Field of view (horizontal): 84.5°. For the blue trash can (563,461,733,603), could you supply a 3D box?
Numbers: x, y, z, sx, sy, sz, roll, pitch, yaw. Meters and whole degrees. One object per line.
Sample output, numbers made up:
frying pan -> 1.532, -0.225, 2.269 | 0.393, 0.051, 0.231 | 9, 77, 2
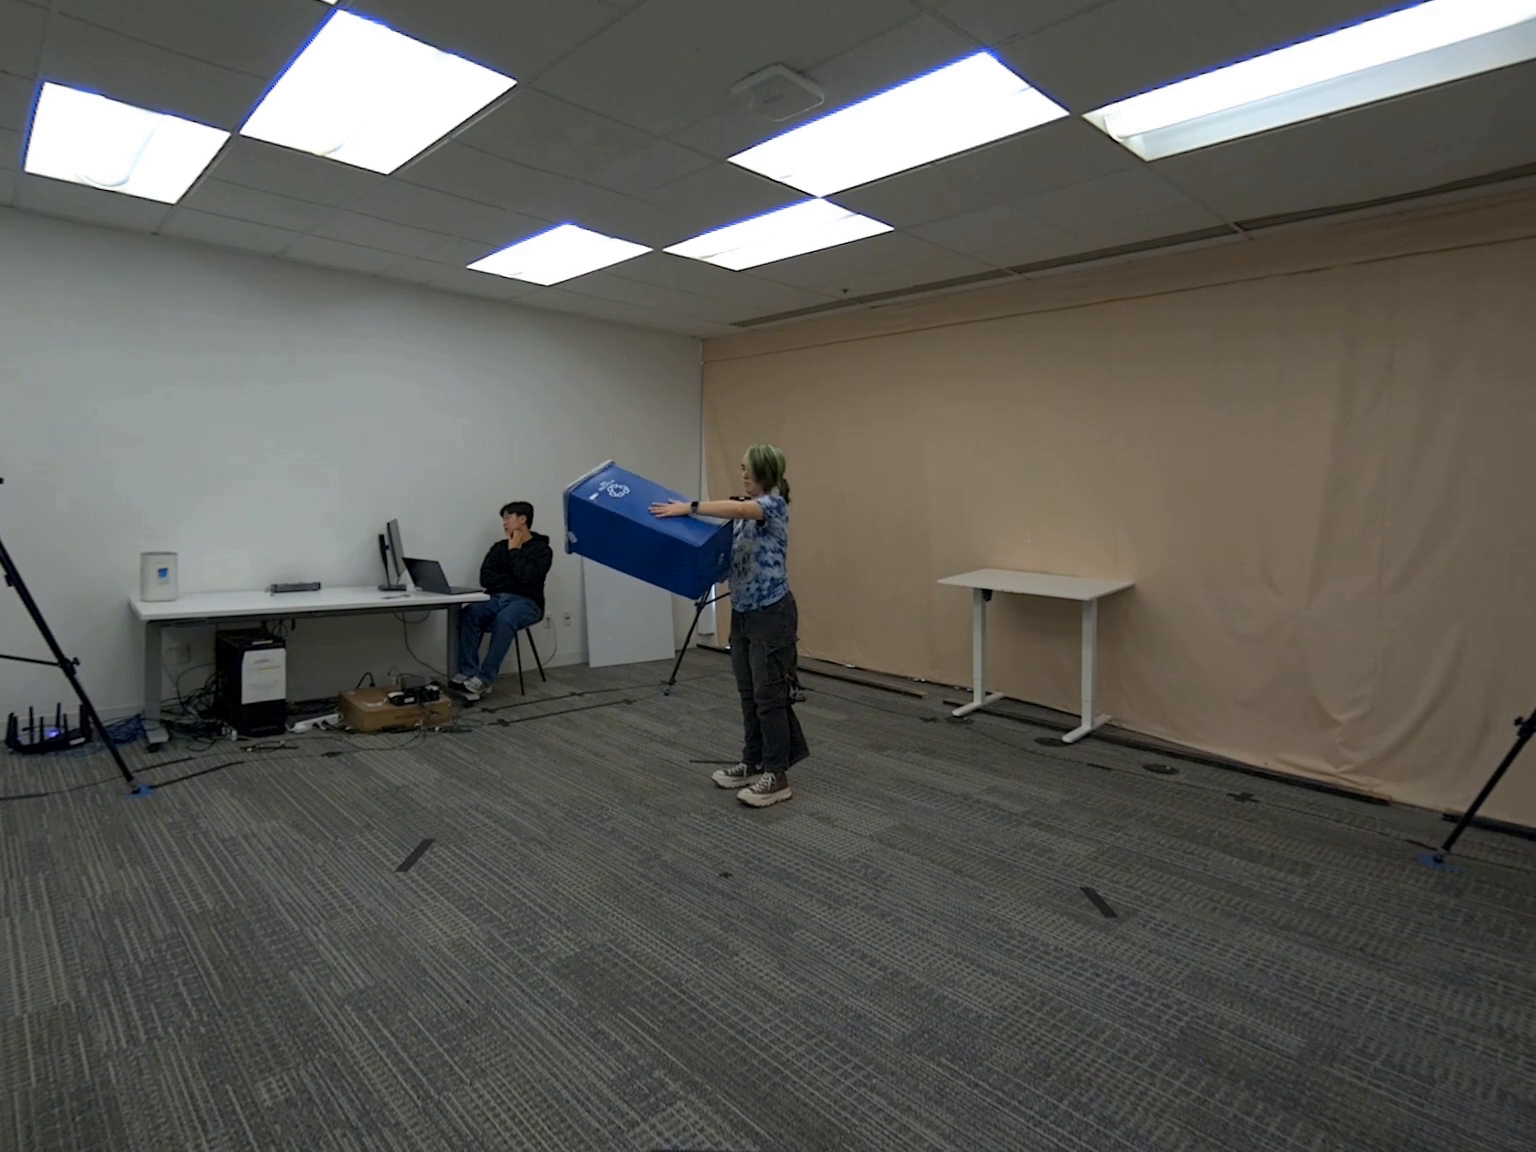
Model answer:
blue trash can -> -0.555, -0.205, 3.877 | 0.728, 0.371, 0.373 | 23, 38, 21
